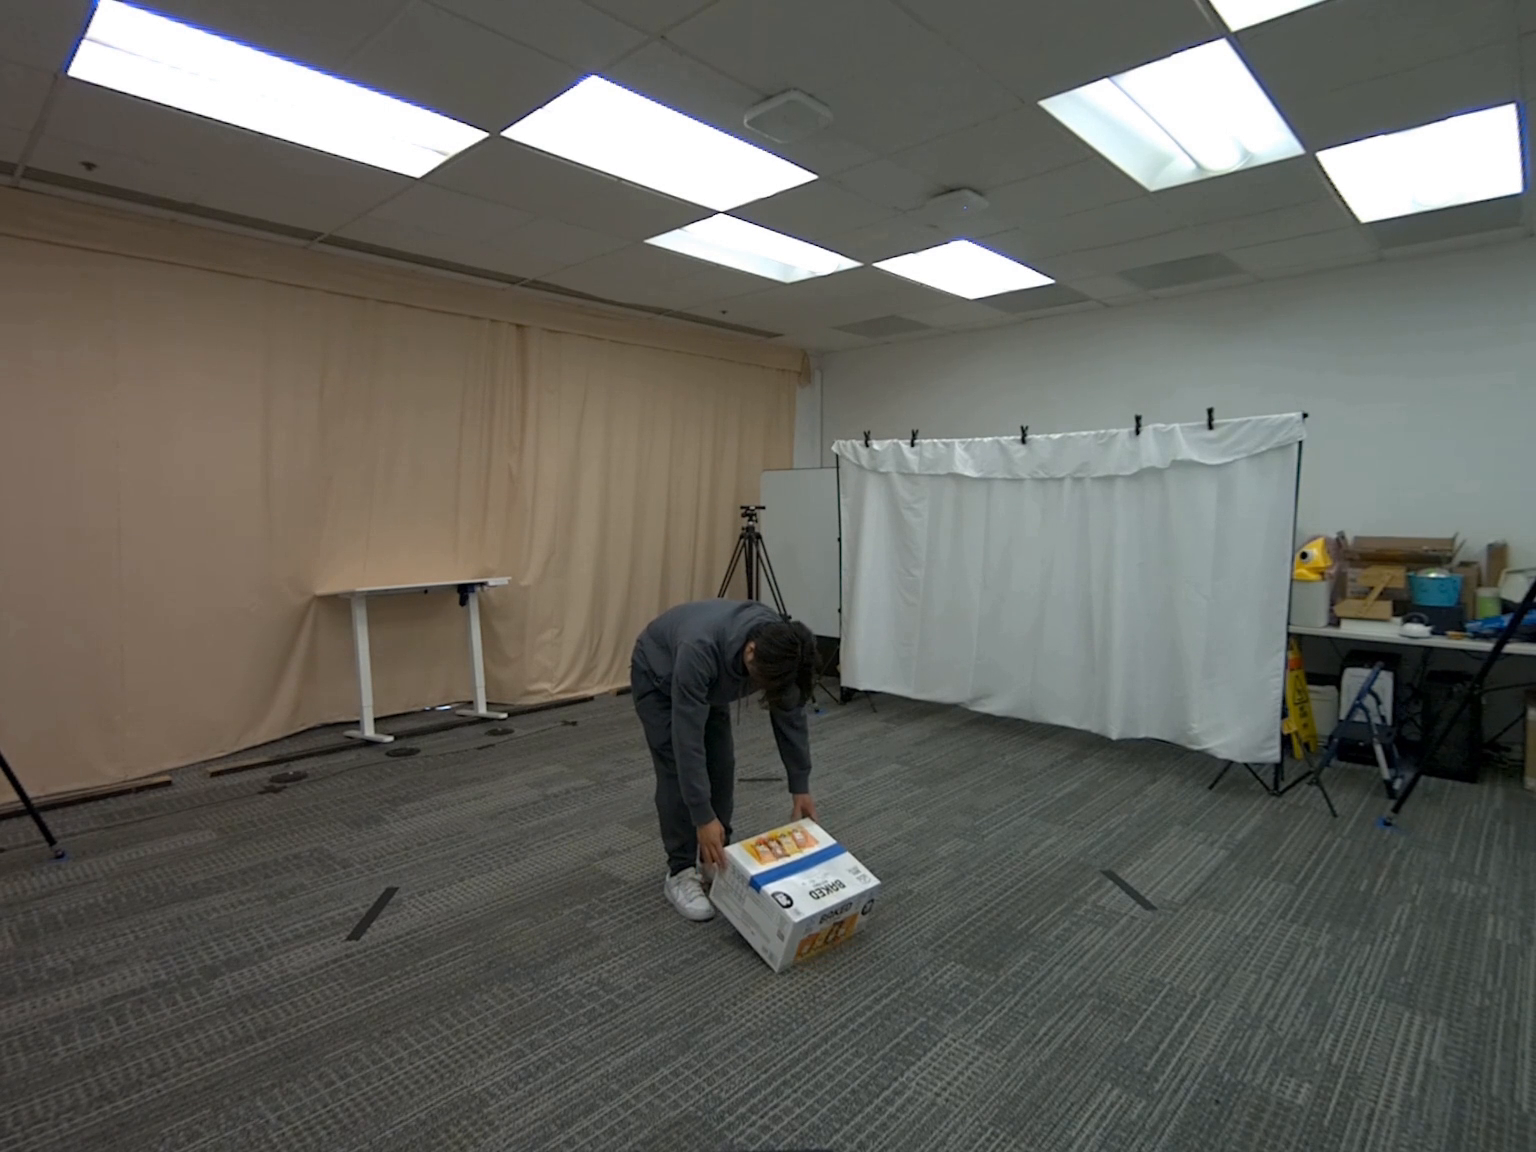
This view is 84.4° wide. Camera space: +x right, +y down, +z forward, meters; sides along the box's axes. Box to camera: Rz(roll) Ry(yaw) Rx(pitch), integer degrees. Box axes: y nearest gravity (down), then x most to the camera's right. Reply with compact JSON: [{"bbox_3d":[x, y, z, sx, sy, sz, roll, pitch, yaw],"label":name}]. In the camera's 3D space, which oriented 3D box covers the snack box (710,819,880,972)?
[{"bbox_3d":[0.091,1.014,2.713,0.393,0.204,0.353,-5,27,-42],"label":"snack box"}]
